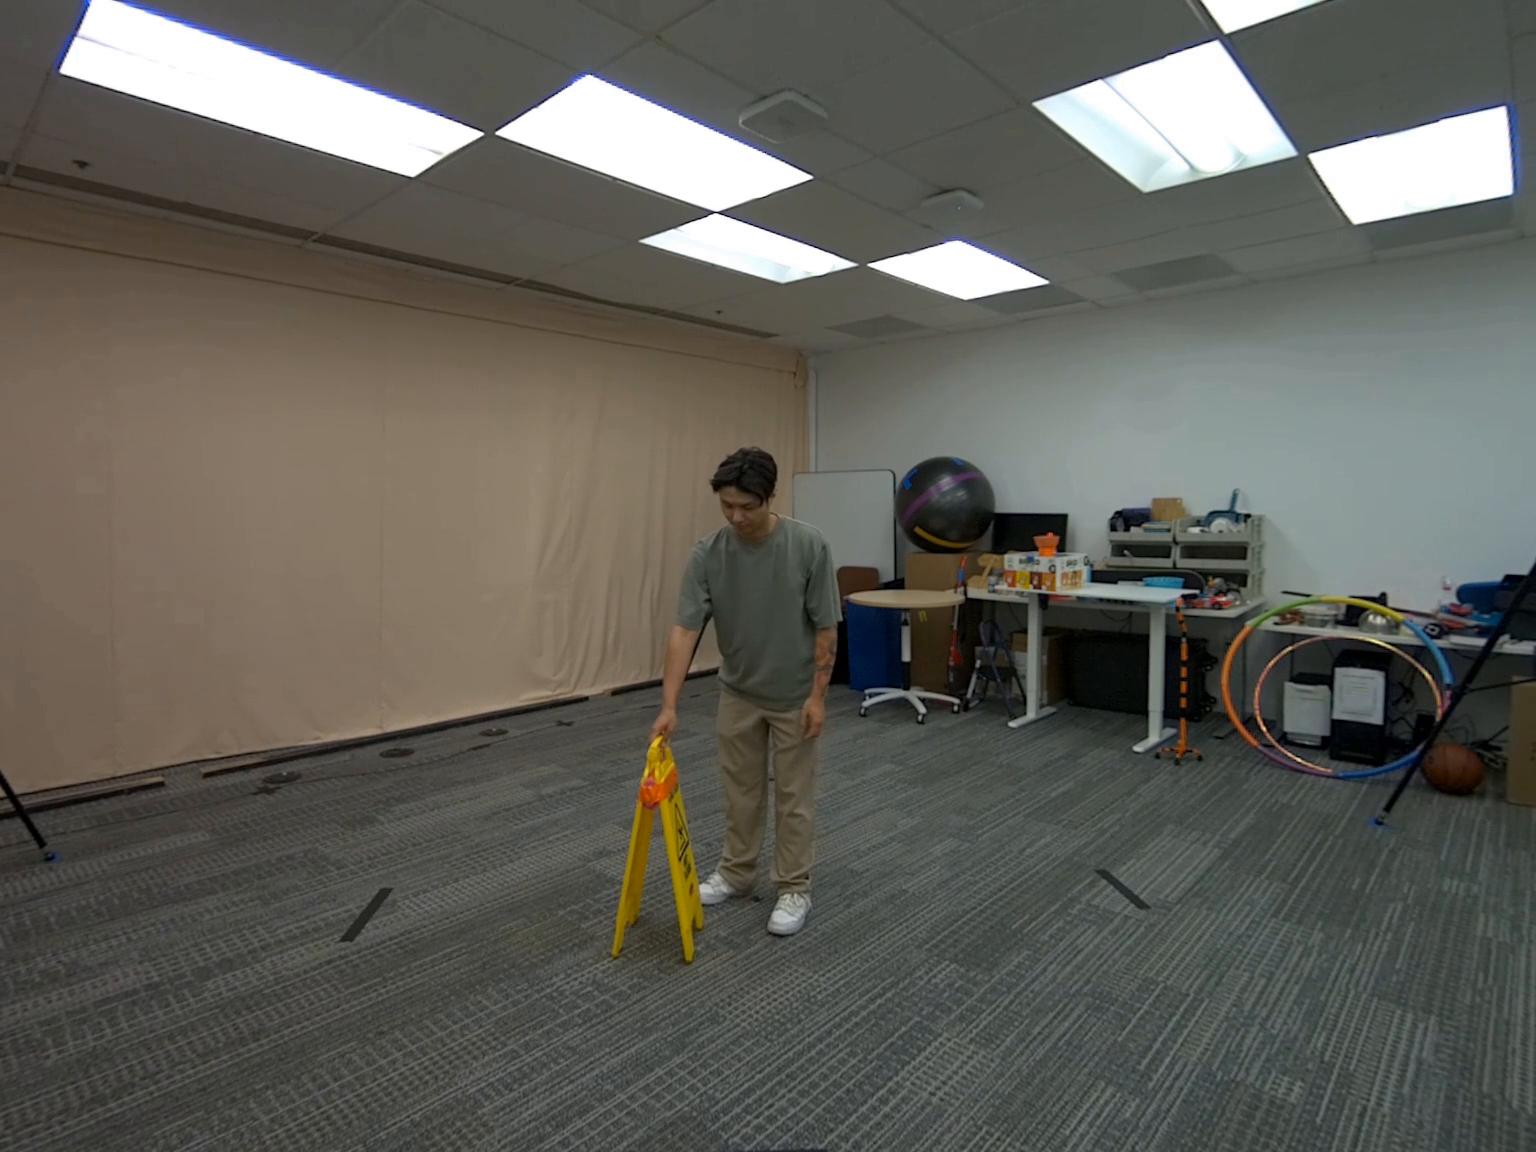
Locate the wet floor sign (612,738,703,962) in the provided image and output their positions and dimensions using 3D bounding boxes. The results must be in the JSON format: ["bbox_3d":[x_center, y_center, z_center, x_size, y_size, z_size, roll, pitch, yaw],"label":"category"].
[{"bbox_3d":[-0.343,0.844,2.669,0.292,0.644,0.281,0,4,5],"label":"wet floor sign"}]
